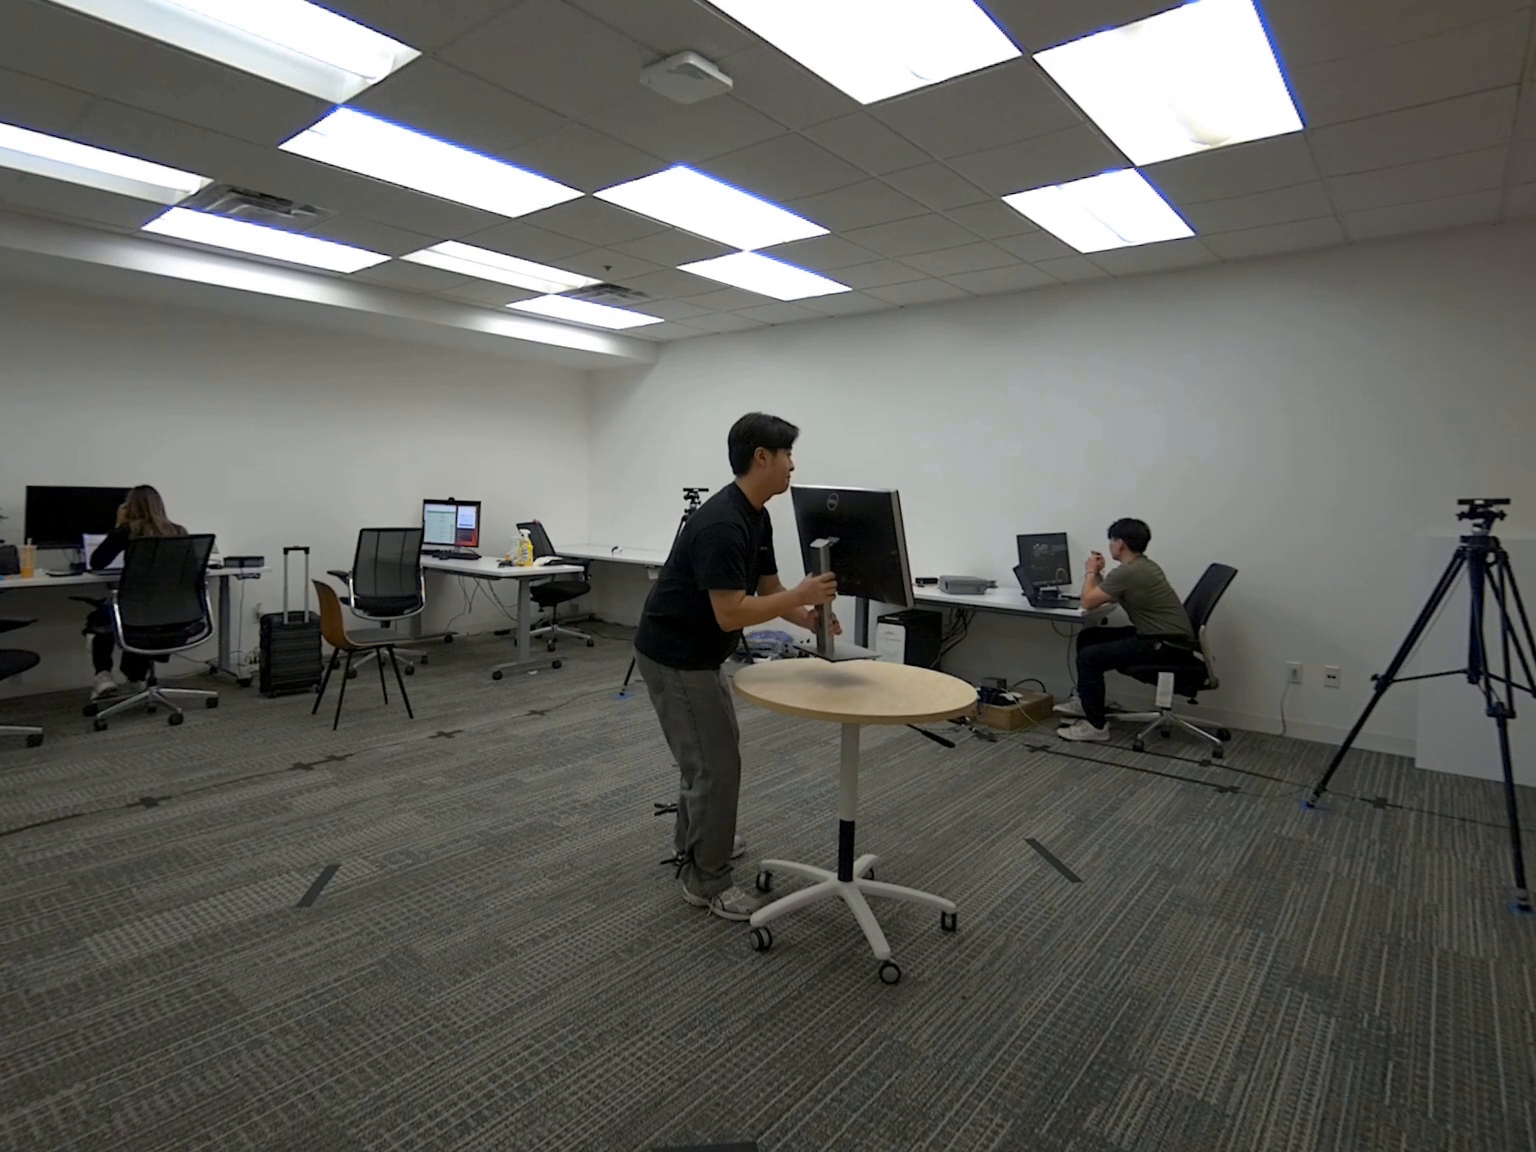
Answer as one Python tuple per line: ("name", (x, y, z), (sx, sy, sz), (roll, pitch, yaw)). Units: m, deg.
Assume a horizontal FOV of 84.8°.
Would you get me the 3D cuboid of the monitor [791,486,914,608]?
("monitor", (0.221, -0.011, 2.760), (0.216, 0.564, 0.579), (2, 5, -27))
